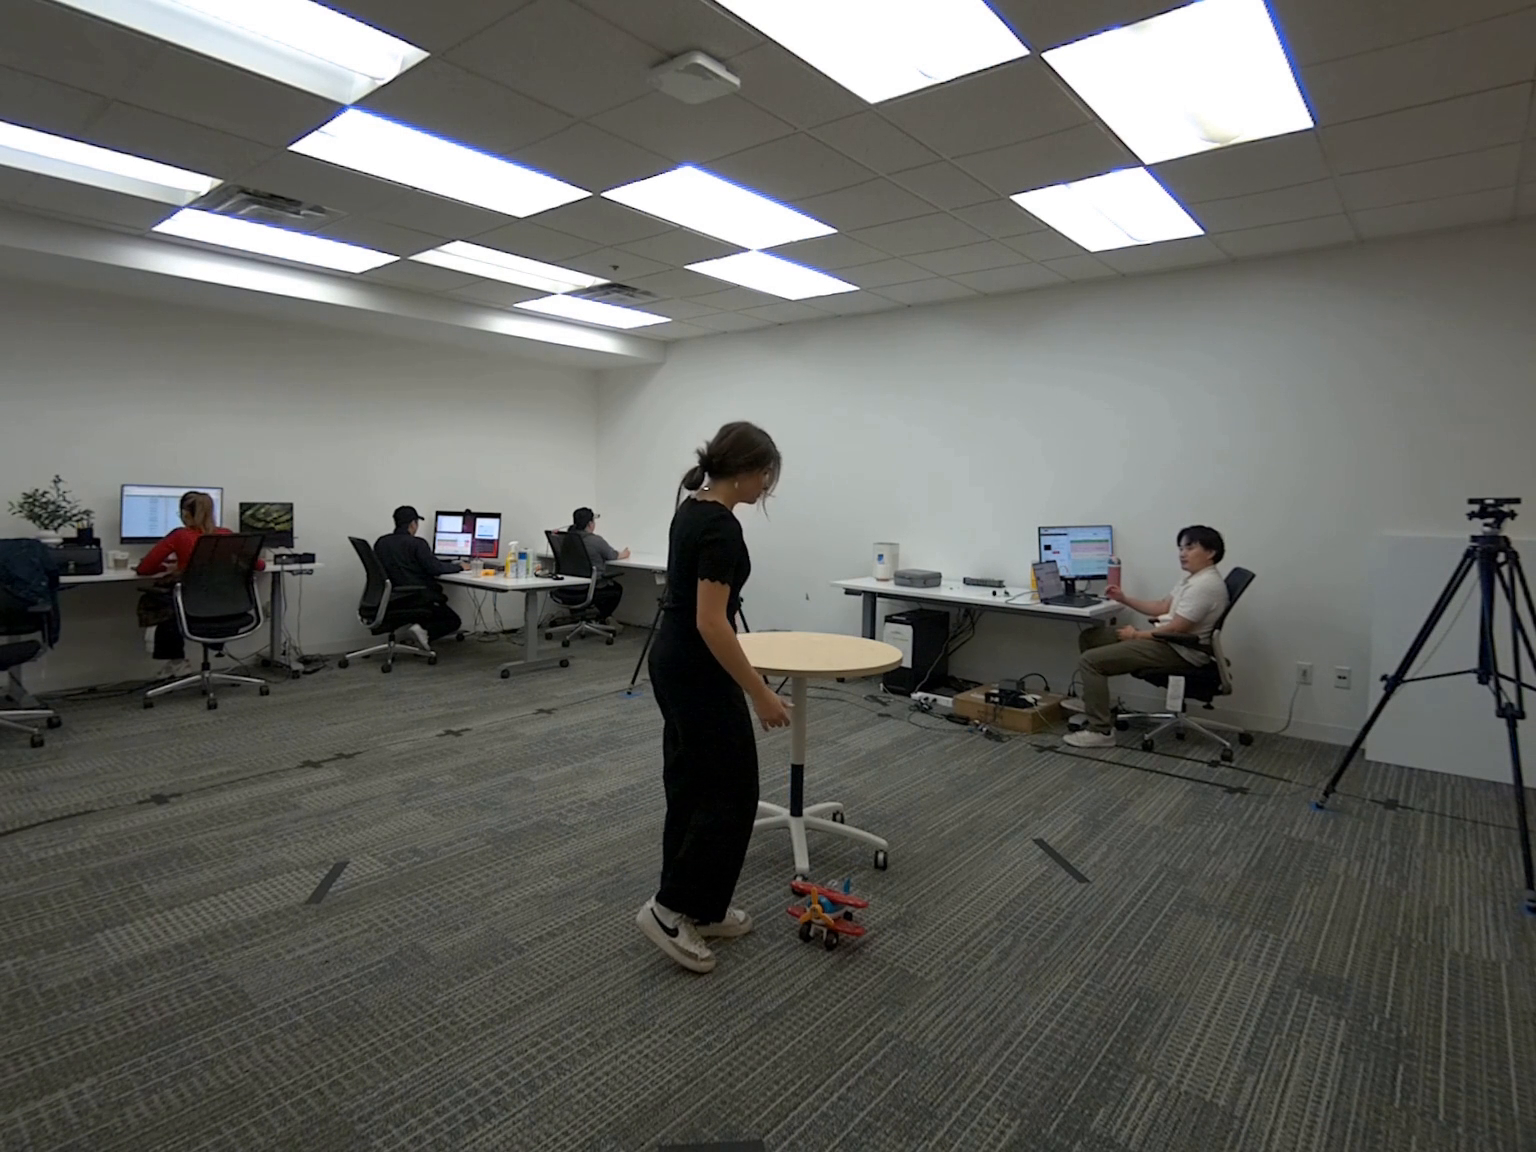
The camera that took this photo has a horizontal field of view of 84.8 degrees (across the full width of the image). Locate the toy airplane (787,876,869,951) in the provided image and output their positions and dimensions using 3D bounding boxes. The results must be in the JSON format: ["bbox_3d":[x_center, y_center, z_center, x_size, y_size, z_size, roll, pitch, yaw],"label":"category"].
[{"bbox_3d":[0.175,1.054,2.684,0.252,0.156,0.259,3,6,3],"label":"toy airplane"}]
